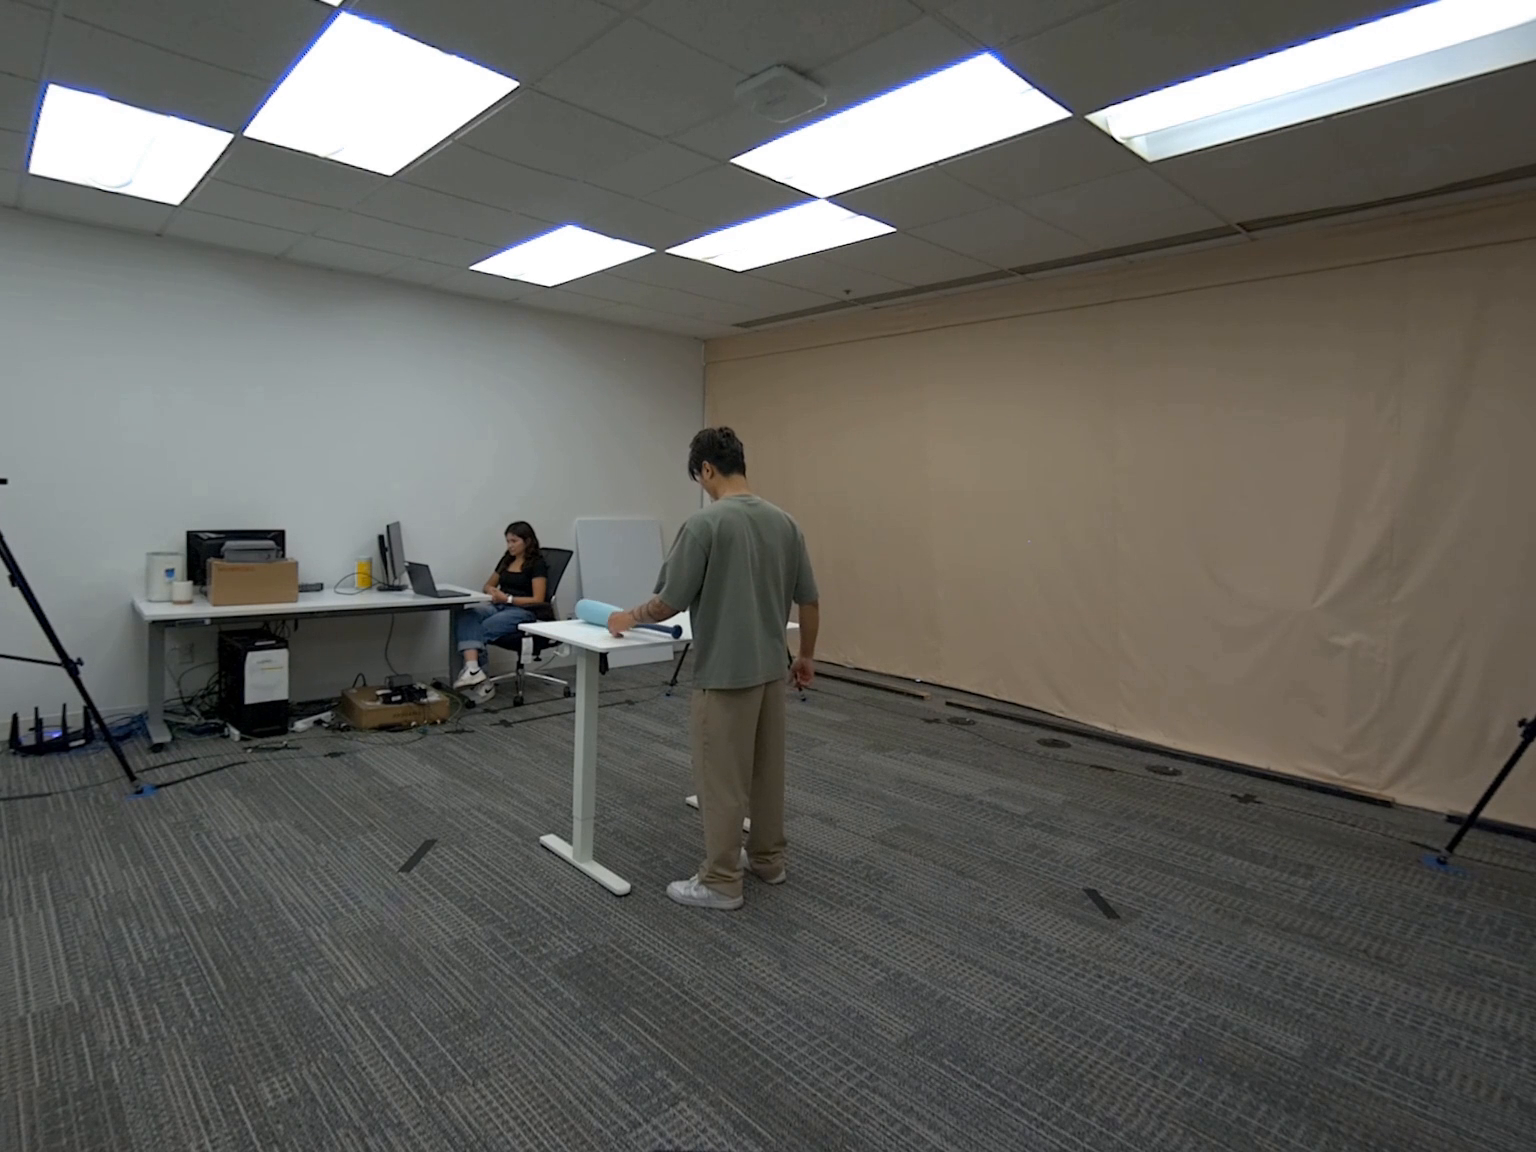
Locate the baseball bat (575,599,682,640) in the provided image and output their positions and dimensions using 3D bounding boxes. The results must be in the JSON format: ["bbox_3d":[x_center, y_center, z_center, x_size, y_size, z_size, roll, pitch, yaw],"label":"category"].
[{"bbox_3d":[-0.546,0.173,3.202,0.558,0.088,0.087,11,9,39],"label":"baseball bat"}]
